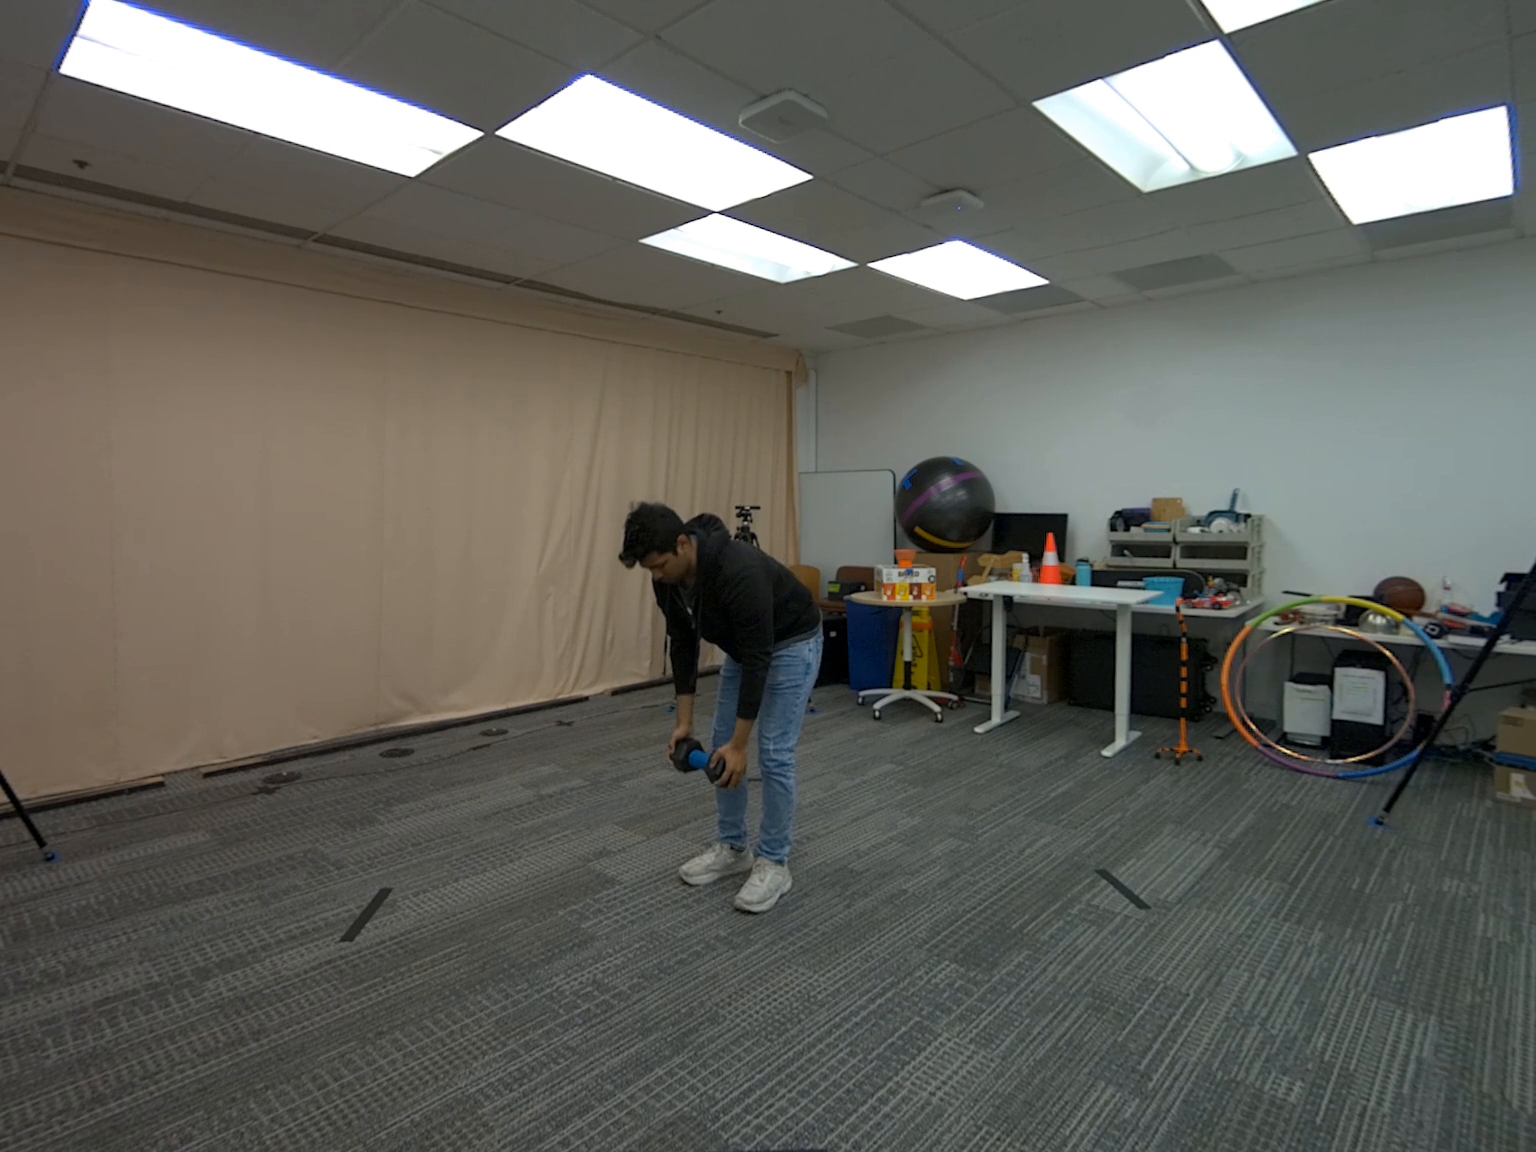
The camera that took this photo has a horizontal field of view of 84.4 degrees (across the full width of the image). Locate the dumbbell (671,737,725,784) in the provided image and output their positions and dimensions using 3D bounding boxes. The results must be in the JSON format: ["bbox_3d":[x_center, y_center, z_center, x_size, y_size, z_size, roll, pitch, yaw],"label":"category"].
[{"bbox_3d":[-0.215,0.652,2.949,0.119,0.108,0.303,-2,4,-38],"label":"dumbbell"}]
